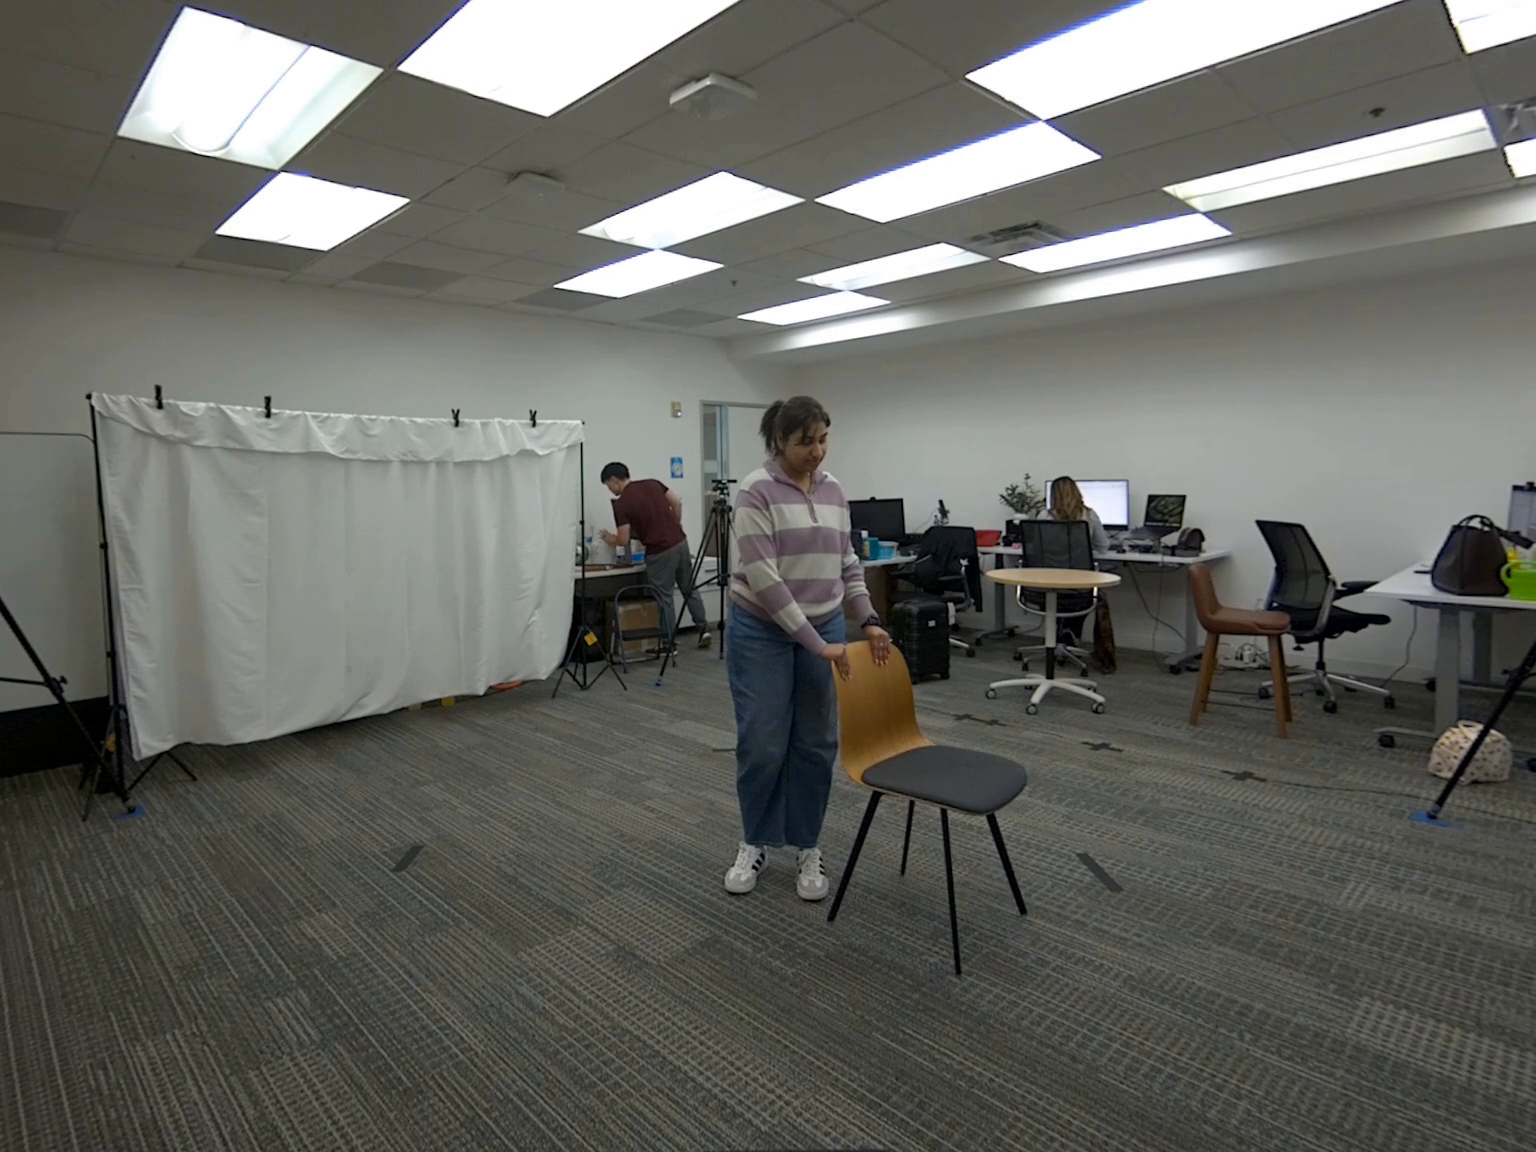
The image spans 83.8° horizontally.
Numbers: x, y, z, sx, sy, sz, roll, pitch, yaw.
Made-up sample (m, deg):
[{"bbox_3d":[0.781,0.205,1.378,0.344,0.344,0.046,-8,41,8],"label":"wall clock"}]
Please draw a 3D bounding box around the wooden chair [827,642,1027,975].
[{"bbox_3d":[0.505,0.658,2.670,0.537,0.877,0.465,-4,1,42],"label":"wooden chair"}]
